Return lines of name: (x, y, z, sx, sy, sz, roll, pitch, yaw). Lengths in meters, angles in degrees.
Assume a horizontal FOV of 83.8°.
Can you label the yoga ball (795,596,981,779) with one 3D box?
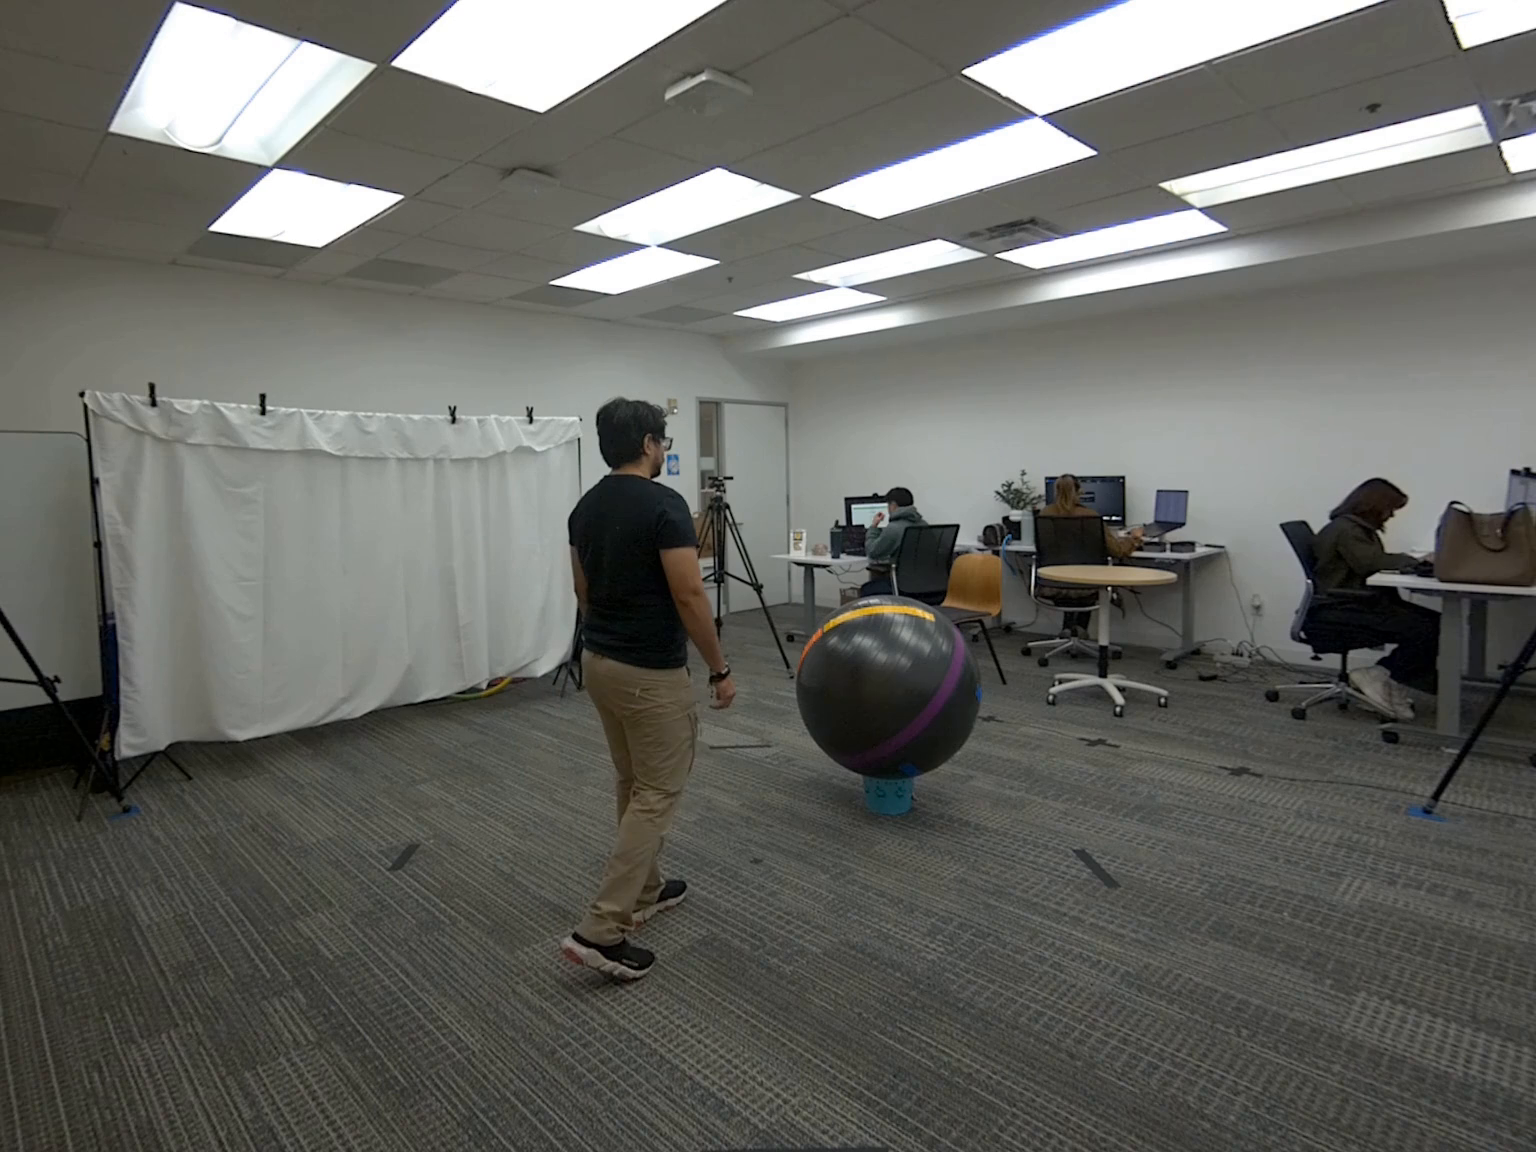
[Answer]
yoga ball: (0.494, 0.463, 3.571, 0.757, 0.755, 0.762, -1, 5, -2)
